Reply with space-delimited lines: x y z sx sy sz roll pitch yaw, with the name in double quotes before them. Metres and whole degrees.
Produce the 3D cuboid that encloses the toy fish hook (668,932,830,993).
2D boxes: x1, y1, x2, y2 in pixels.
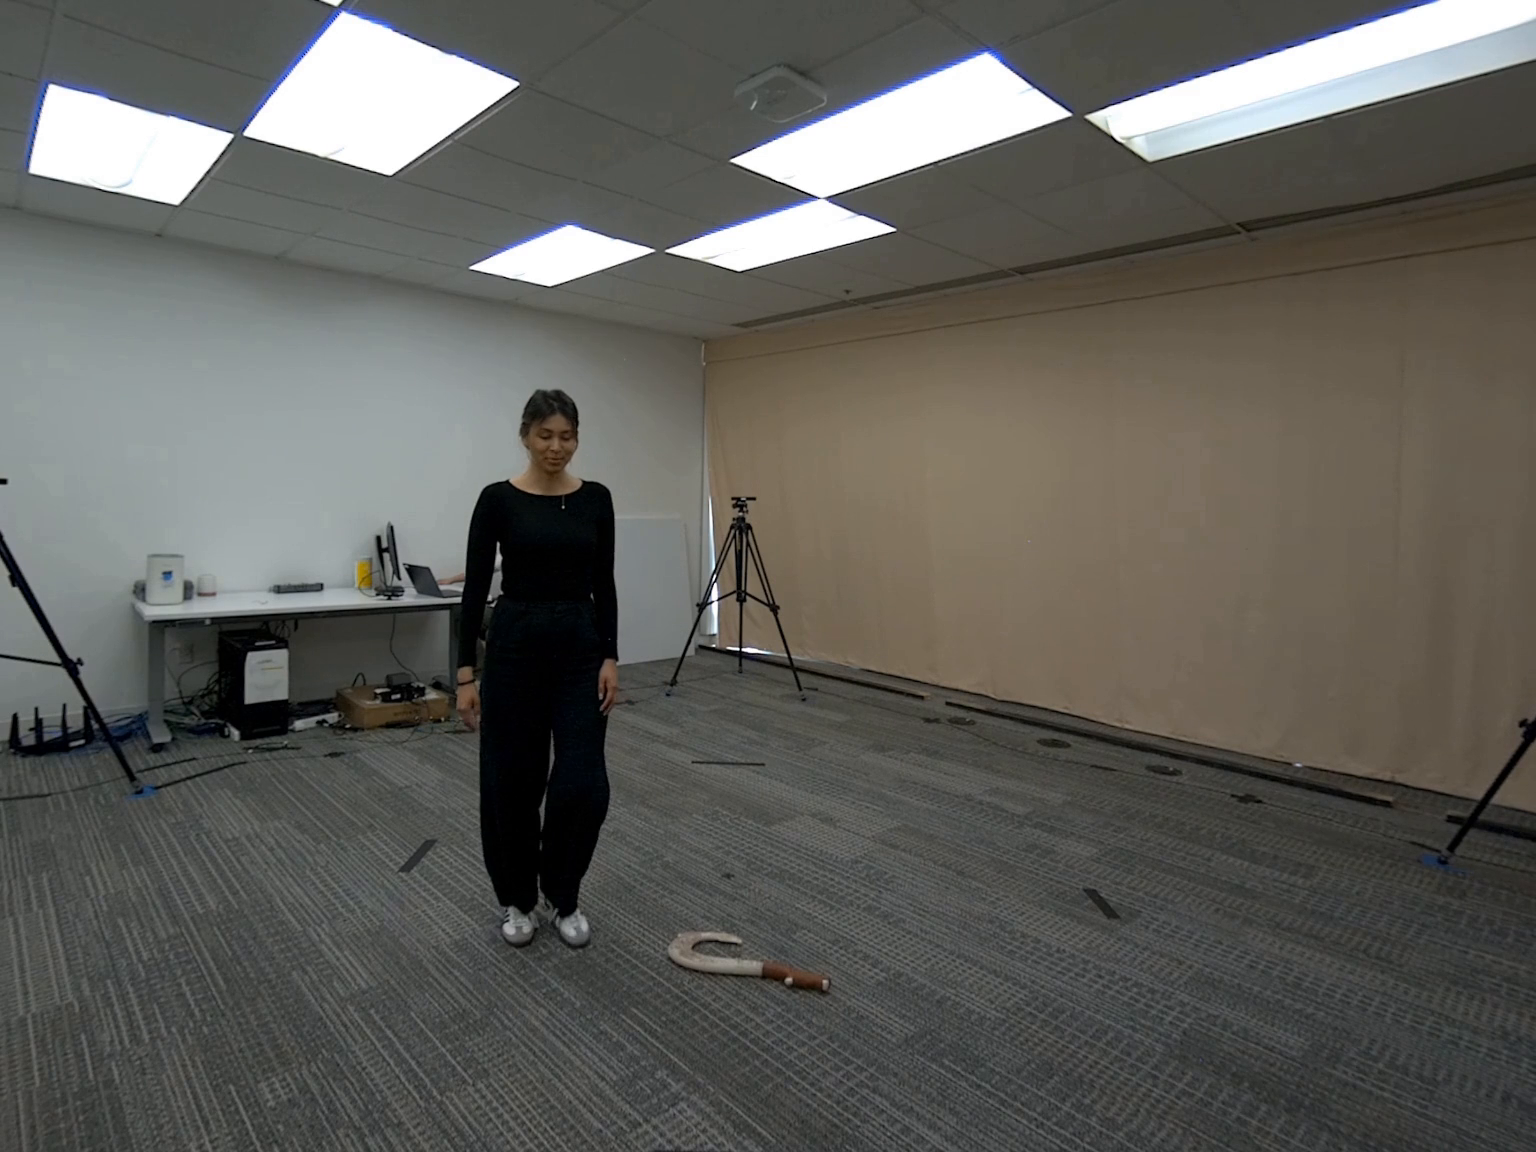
"toy fish hook" -0.057 1.143 2.510 0.514 0.048 0.222 3 6 19
